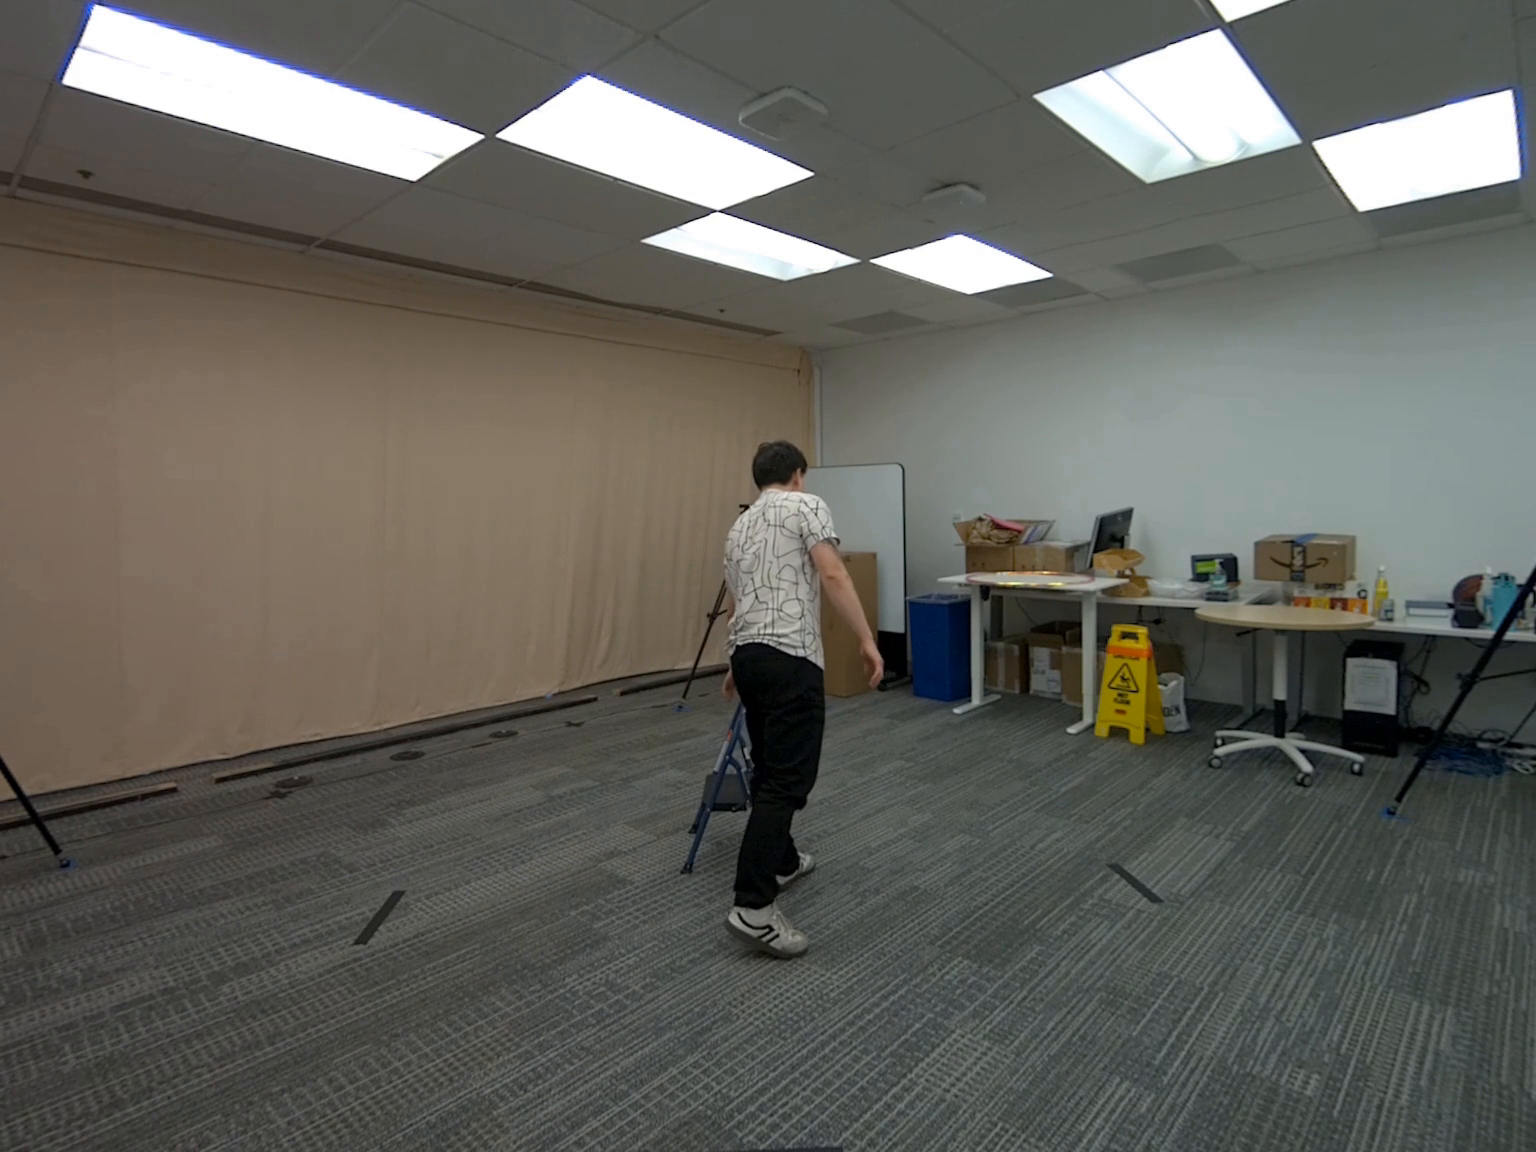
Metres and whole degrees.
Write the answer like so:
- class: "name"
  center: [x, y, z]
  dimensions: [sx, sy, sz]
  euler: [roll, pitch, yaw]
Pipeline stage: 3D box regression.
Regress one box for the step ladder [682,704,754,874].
- class: "step ladder"
  center: [-0.164, 0.810, 3.381]
  dimensions: [0.350, 0.605, 0.431]
  euler: [-2, 2, 0]
